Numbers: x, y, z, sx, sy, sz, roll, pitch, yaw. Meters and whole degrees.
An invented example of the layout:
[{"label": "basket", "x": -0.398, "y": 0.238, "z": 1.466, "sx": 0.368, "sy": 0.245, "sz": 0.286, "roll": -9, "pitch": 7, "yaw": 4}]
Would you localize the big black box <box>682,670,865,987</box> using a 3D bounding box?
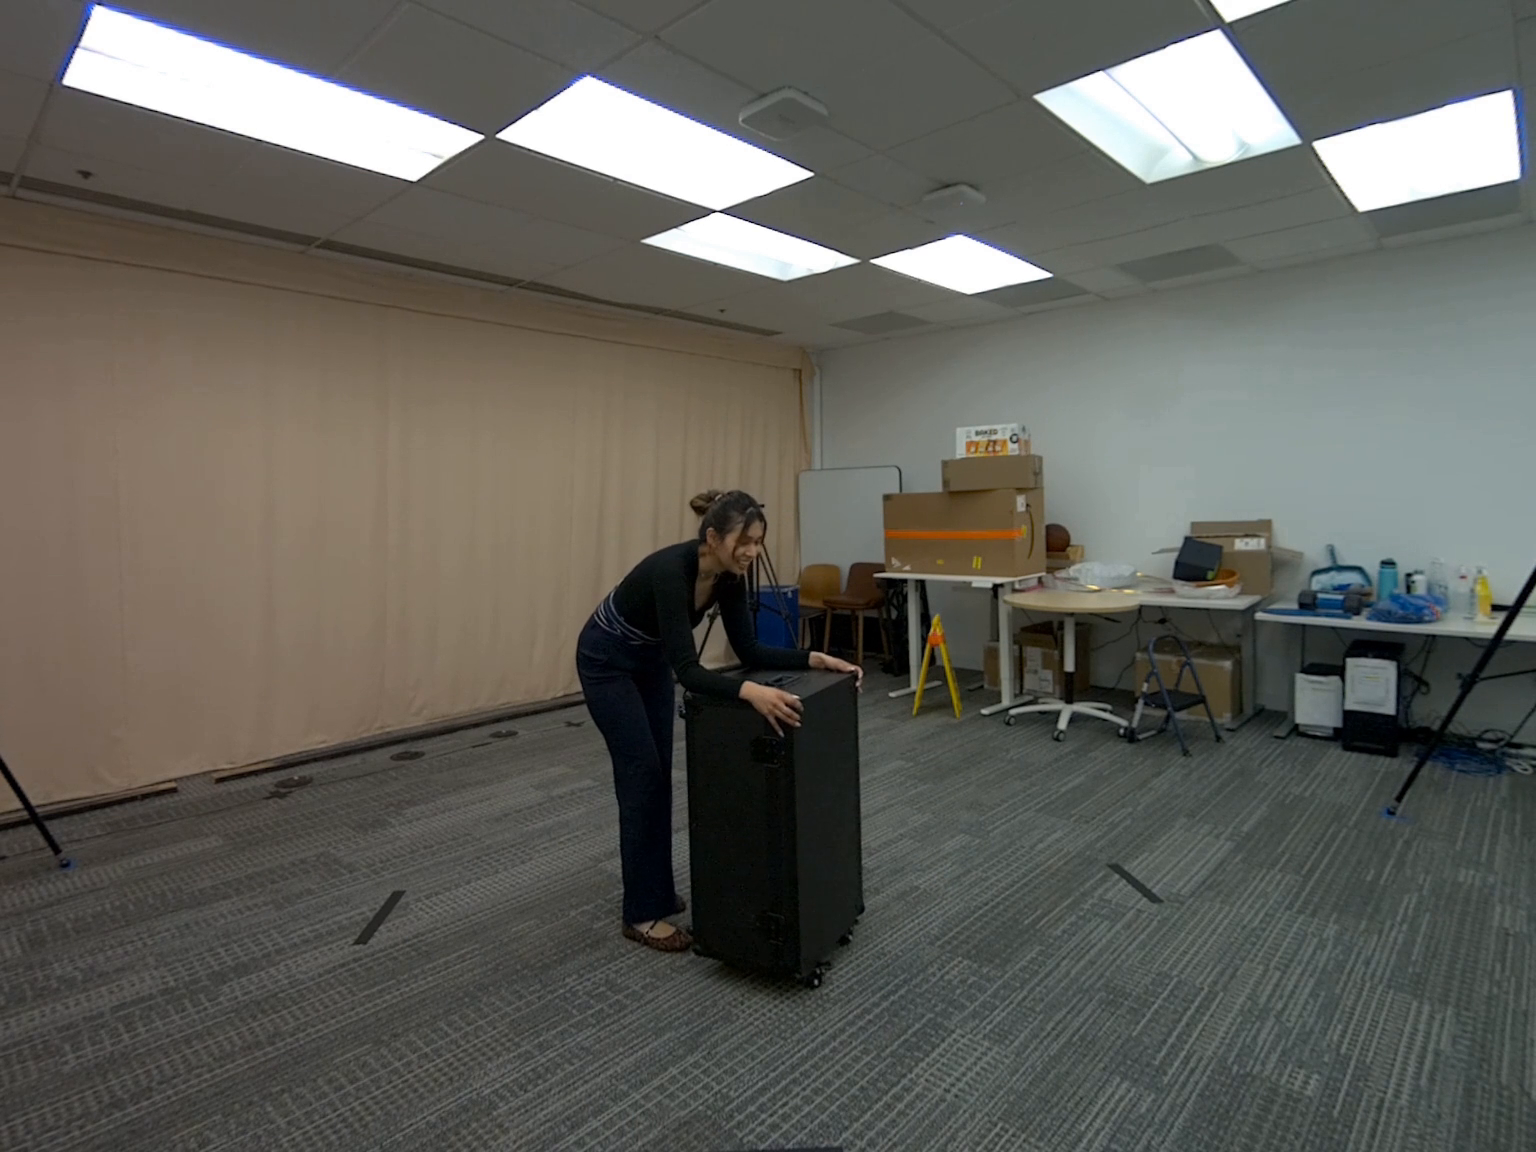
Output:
[{"label": "big black box", "x": 0.028, "y": 0.751, "z": 2.585, "sx": 0.407, "sy": 0.860, "sz": 0.508, "roll": -2, "pitch": 2, "yaw": 29}]
